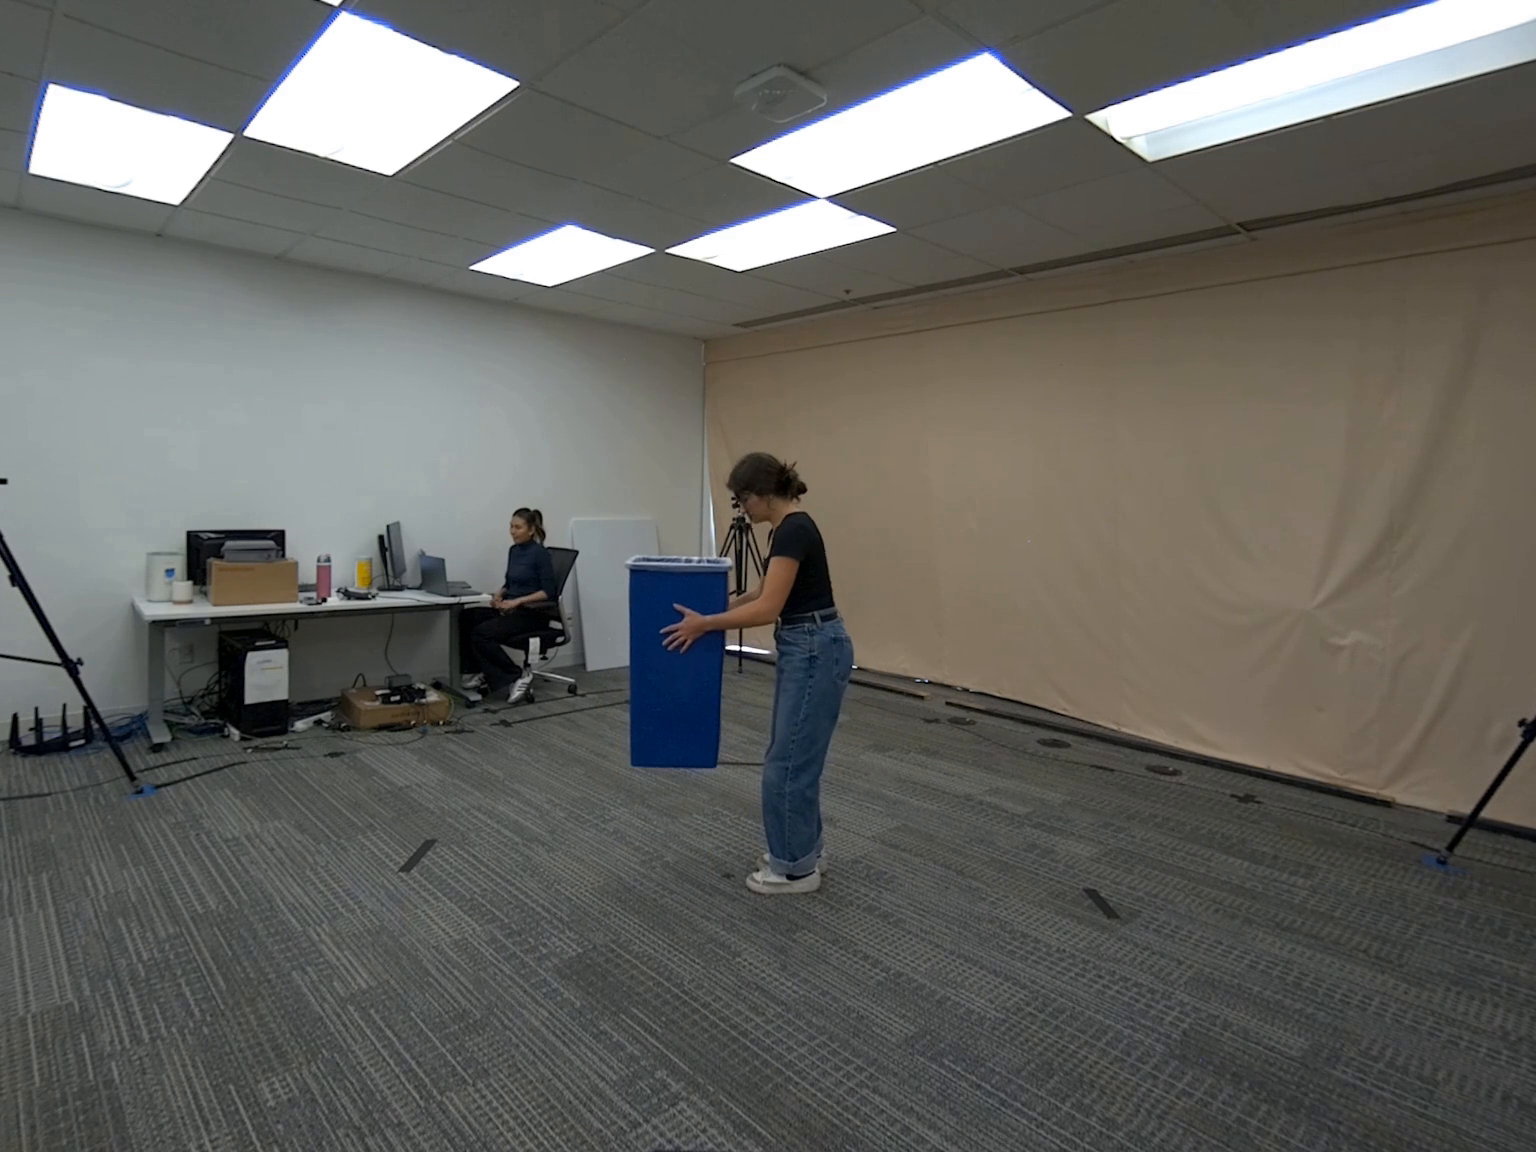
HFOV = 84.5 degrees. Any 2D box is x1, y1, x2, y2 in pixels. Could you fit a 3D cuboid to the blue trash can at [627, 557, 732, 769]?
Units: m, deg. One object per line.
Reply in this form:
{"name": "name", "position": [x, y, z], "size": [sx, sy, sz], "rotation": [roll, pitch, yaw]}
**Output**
{"name": "blue trash can", "position": [-0.324, 0.306, 3.041], "size": [0.377, 0.712, 0.375], "rotation": [1, 2, -2]}
